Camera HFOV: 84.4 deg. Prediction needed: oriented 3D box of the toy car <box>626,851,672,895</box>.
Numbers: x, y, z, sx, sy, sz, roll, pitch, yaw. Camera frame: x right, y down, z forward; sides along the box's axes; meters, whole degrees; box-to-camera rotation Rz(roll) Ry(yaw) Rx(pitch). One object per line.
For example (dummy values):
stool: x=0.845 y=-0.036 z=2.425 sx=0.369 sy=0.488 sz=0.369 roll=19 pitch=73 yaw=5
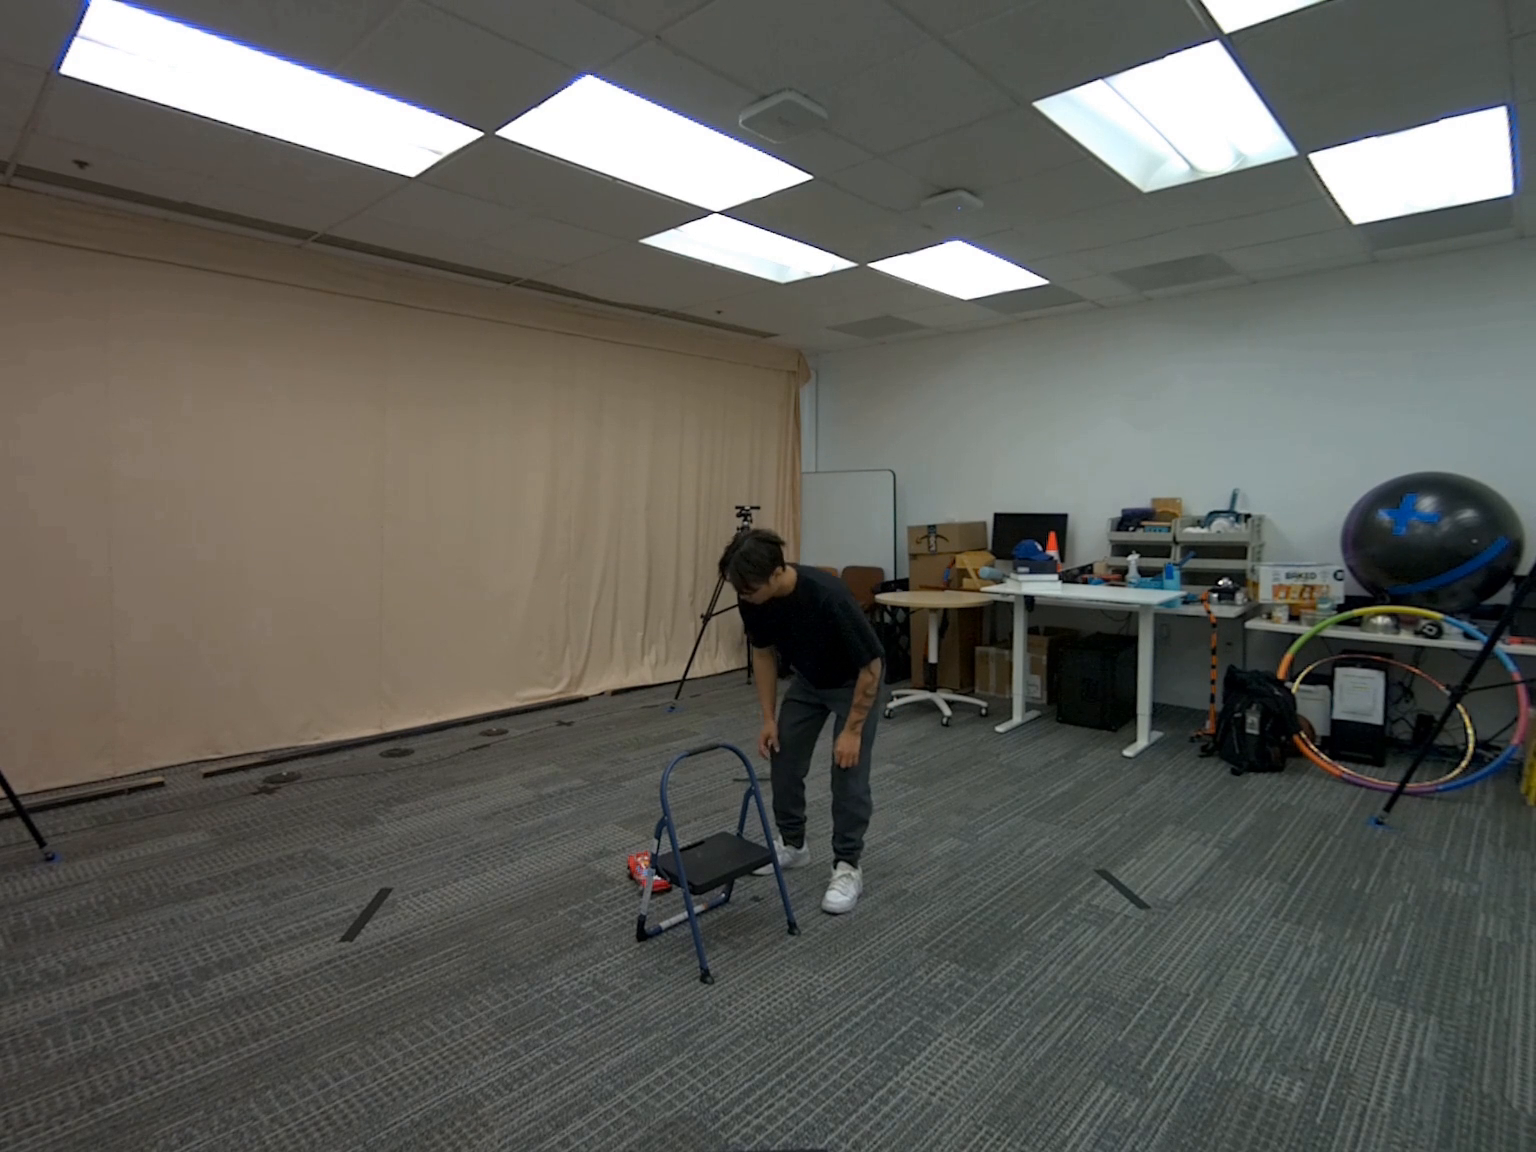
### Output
toy car: x=-0.447 y=1.107 z=3.132 sx=0.127 sy=0.082 sz=0.262 roll=-3 pitch=17 yaw=-25
